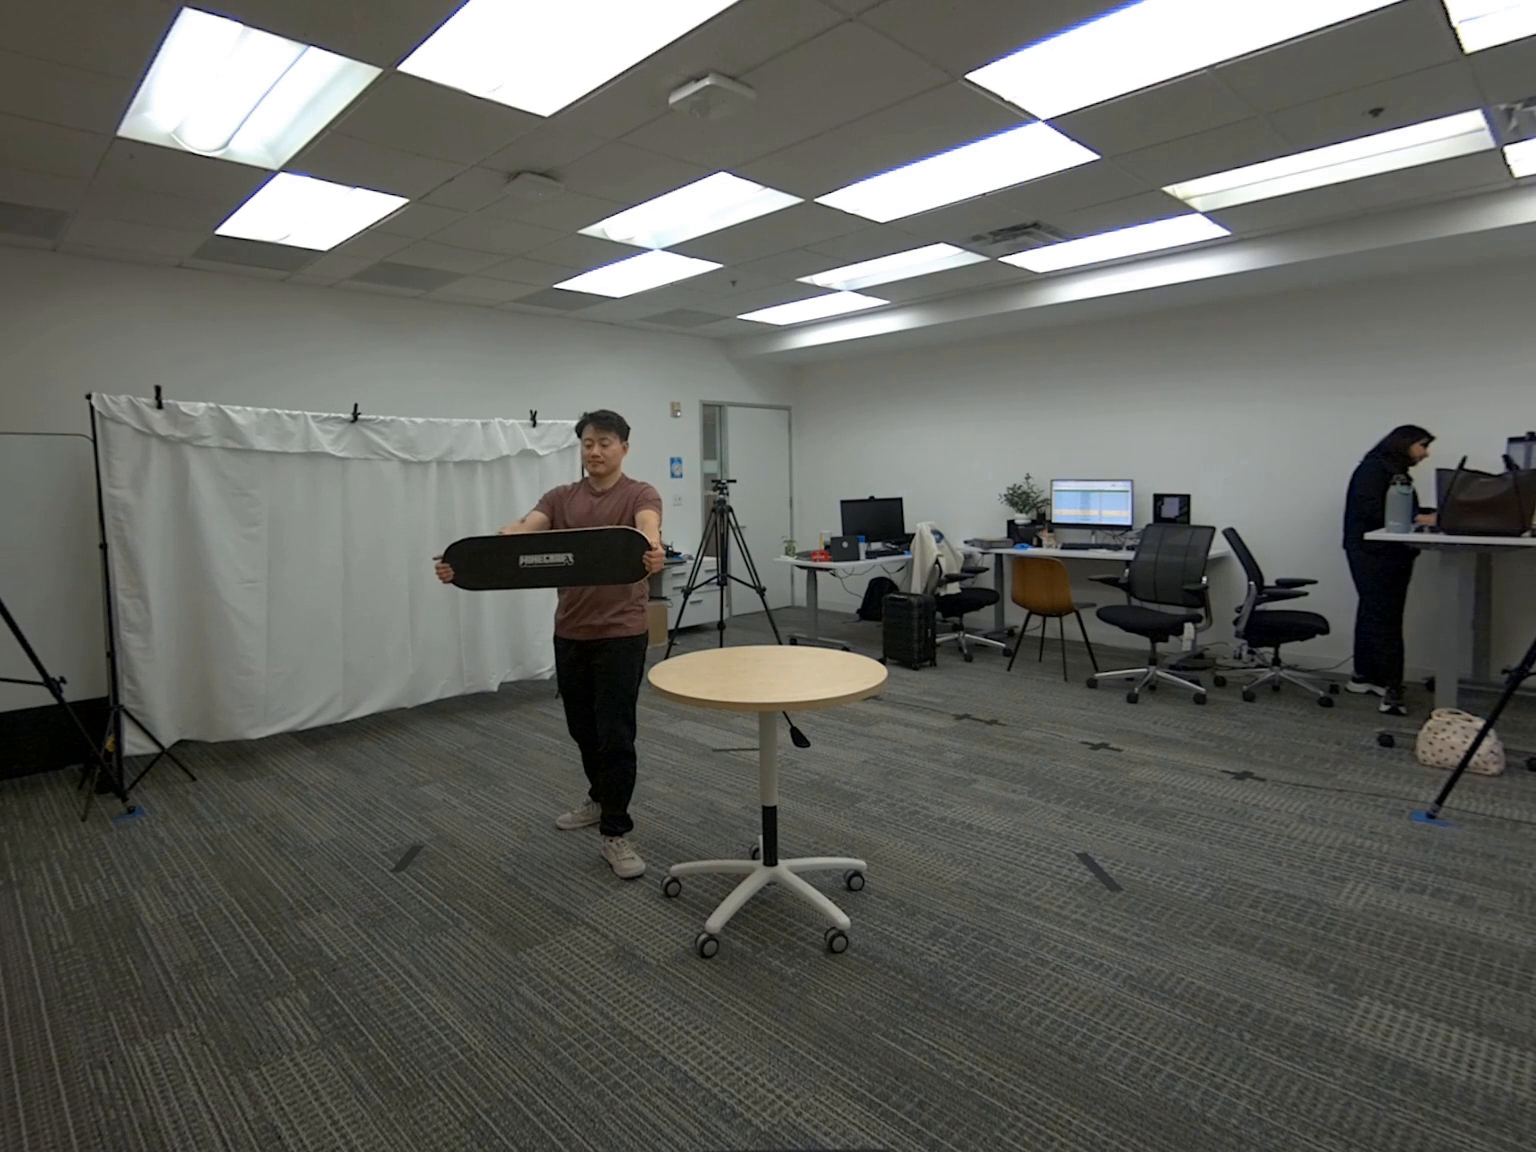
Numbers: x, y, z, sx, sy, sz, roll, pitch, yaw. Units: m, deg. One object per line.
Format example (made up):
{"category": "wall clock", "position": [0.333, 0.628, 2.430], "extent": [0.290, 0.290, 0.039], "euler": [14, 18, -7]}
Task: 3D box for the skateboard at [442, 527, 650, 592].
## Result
{"category": "skateboard", "position": [-0.728, -0.060, 2.884], "extent": [0.799, 0.192, 0.109], "euler": [-2, 9, 19]}
